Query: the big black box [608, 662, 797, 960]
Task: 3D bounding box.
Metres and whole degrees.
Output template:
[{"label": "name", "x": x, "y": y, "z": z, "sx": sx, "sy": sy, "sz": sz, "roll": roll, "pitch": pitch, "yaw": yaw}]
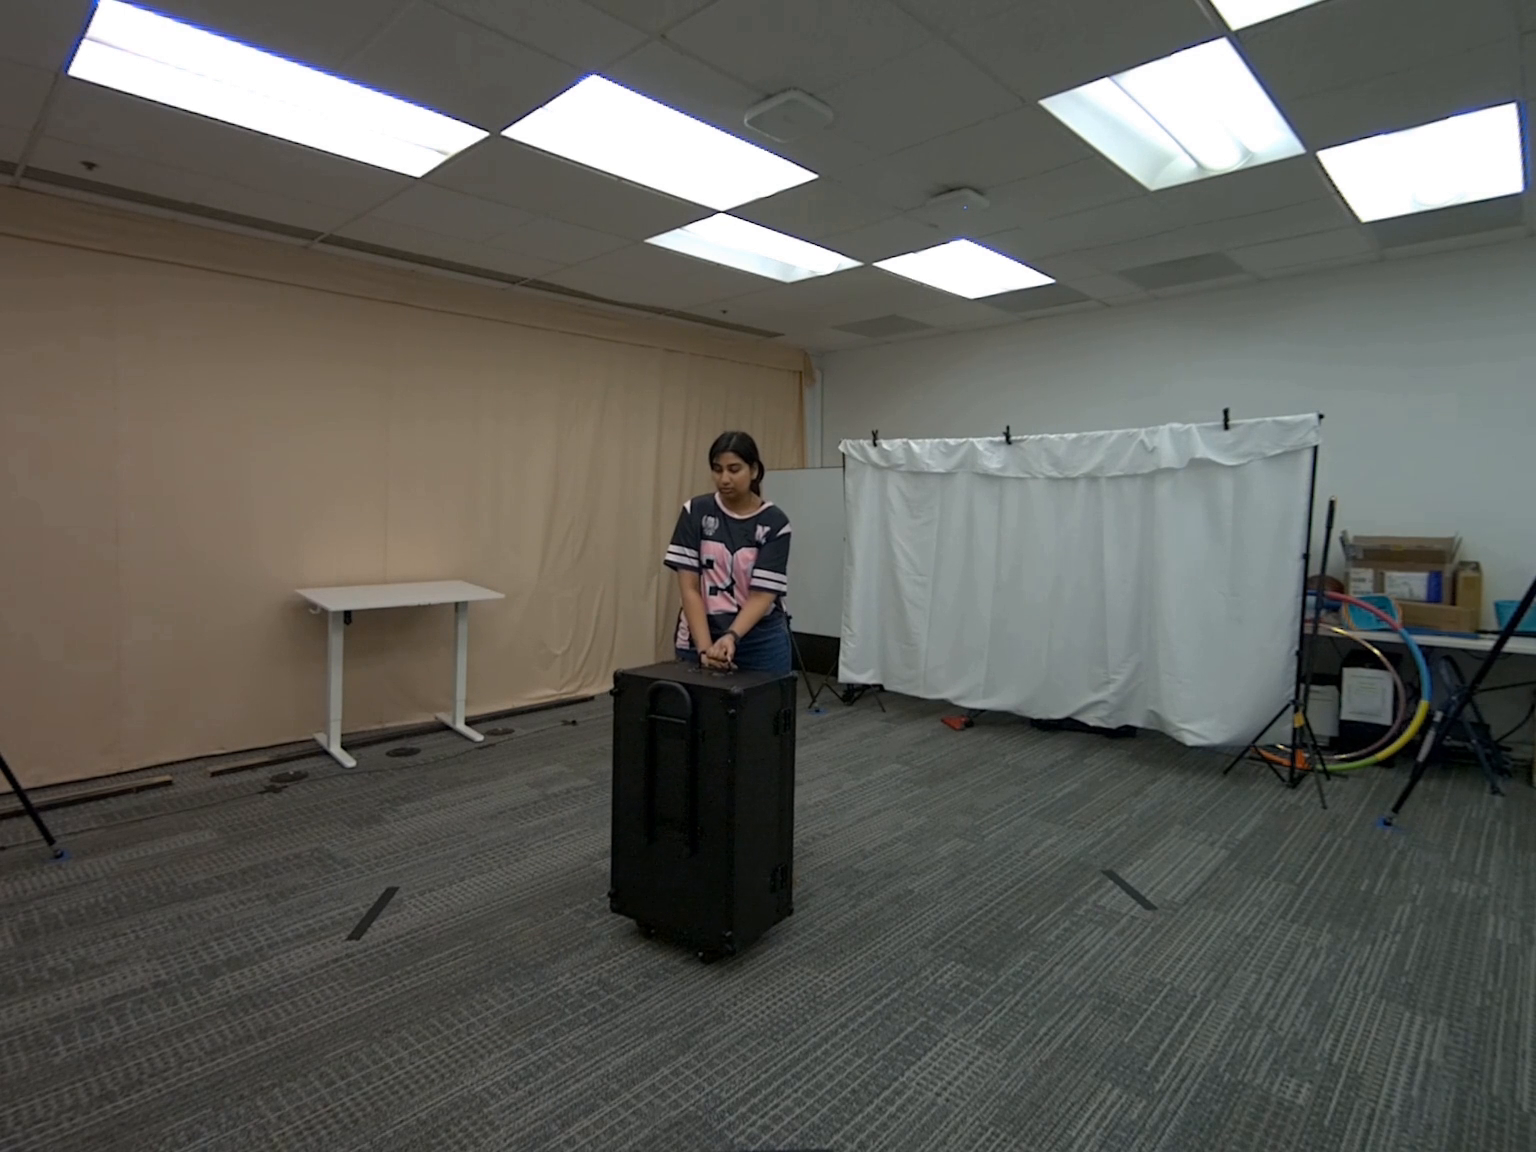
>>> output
[{"label": "big black box", "x": -0.200, "y": 0.738, "z": 2.715, "sx": 0.539, "sy": 0.868, "sz": 0.374, "roll": 2, "pitch": 1, "yaw": 33}]
